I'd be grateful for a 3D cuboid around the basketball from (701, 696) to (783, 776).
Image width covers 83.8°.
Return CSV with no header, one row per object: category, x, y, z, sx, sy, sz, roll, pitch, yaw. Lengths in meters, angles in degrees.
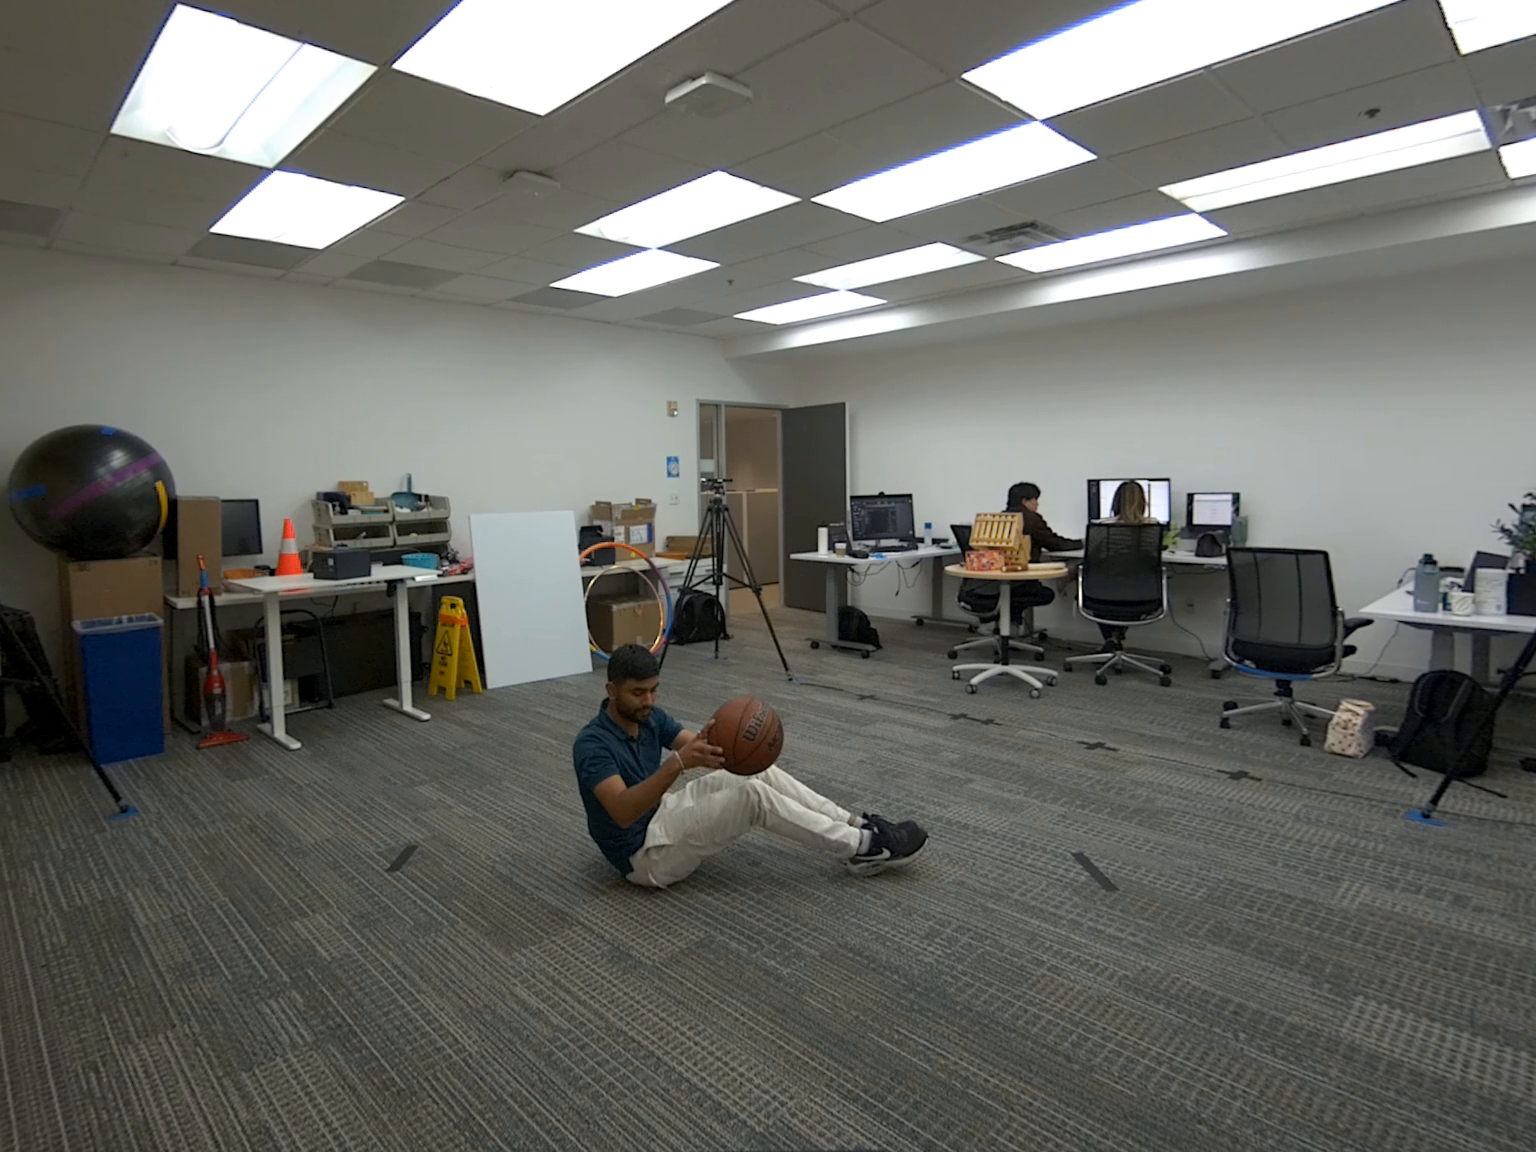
basketball,-0.060,0.501,2.653,0.236,0.235,0.237,-1,5,-2
